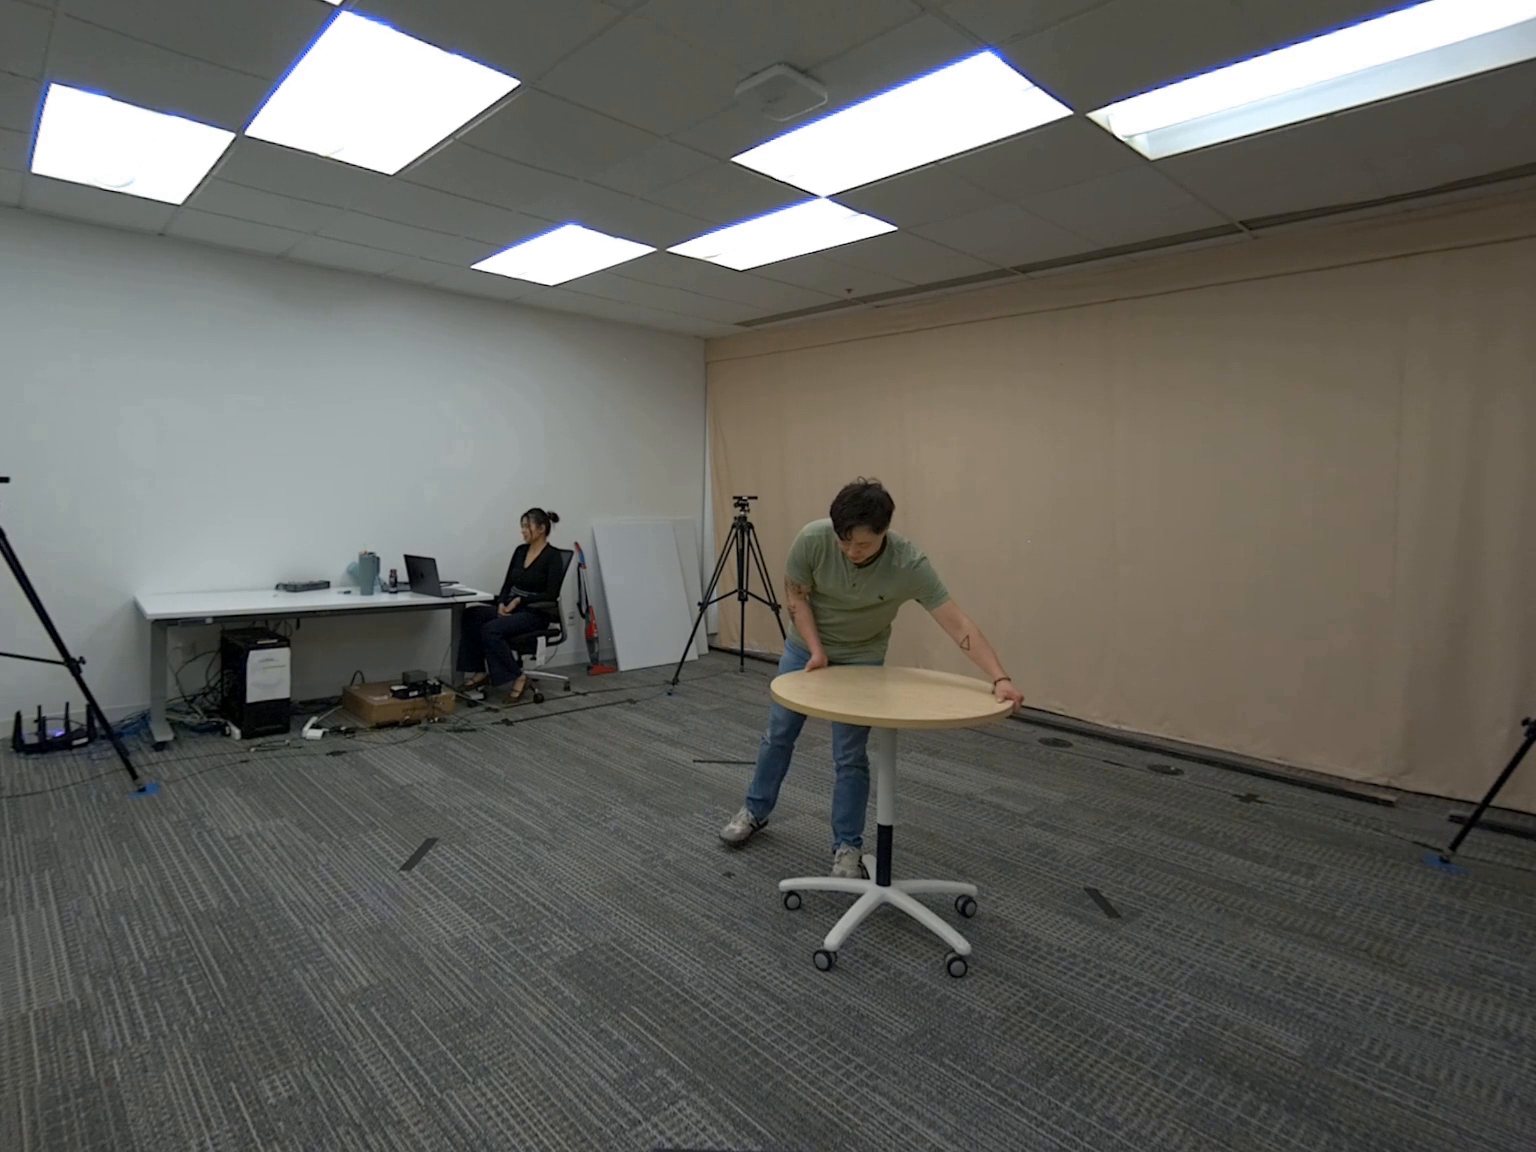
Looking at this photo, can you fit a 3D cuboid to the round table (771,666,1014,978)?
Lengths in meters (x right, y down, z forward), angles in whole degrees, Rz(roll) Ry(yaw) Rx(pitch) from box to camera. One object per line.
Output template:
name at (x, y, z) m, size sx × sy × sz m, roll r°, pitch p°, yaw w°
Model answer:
round table at (0.371, 0.760, 2.730) m, size 0.763 × 0.791 × 0.767 m, roll 1°, pitch 4°, yaw -1°
